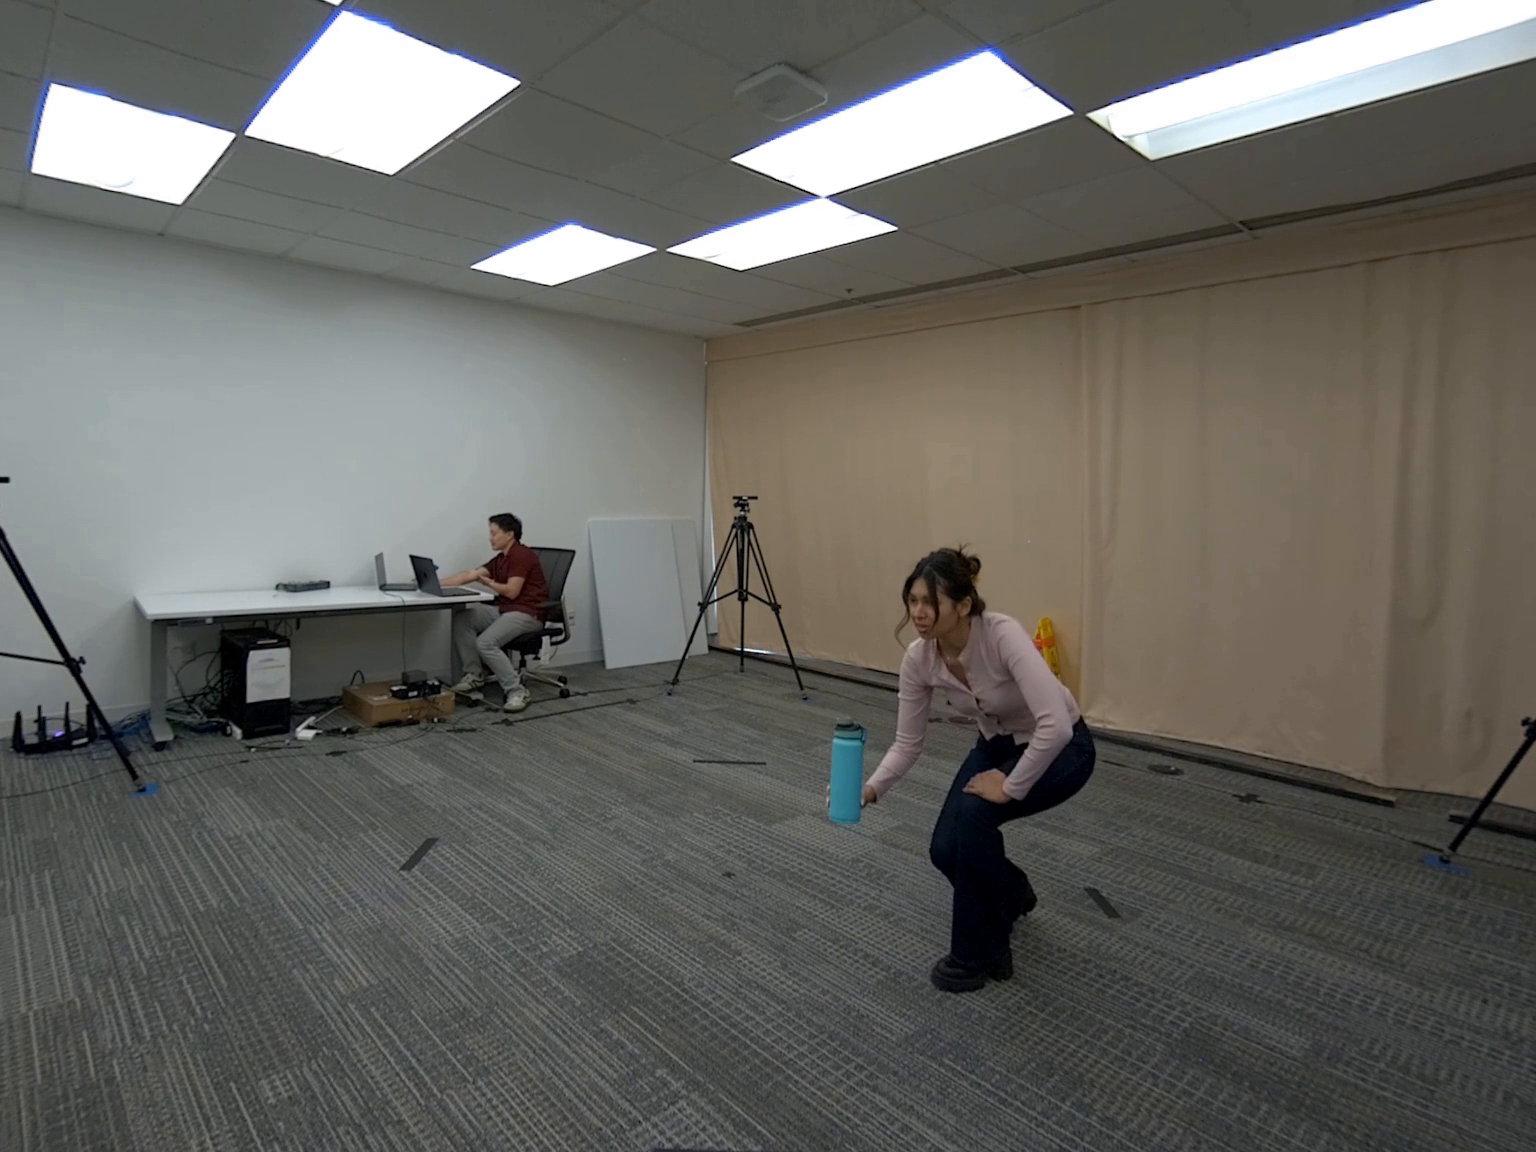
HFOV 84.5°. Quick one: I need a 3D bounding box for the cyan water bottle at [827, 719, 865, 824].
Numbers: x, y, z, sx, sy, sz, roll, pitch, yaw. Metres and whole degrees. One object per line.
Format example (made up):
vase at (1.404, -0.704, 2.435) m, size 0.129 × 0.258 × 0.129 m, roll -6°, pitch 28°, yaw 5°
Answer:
cyan water bottle at (0.228, 0.551, 2.386) m, size 0.092 × 0.284 × 0.092 m, roll 4°, pitch -4°, yaw -1°
